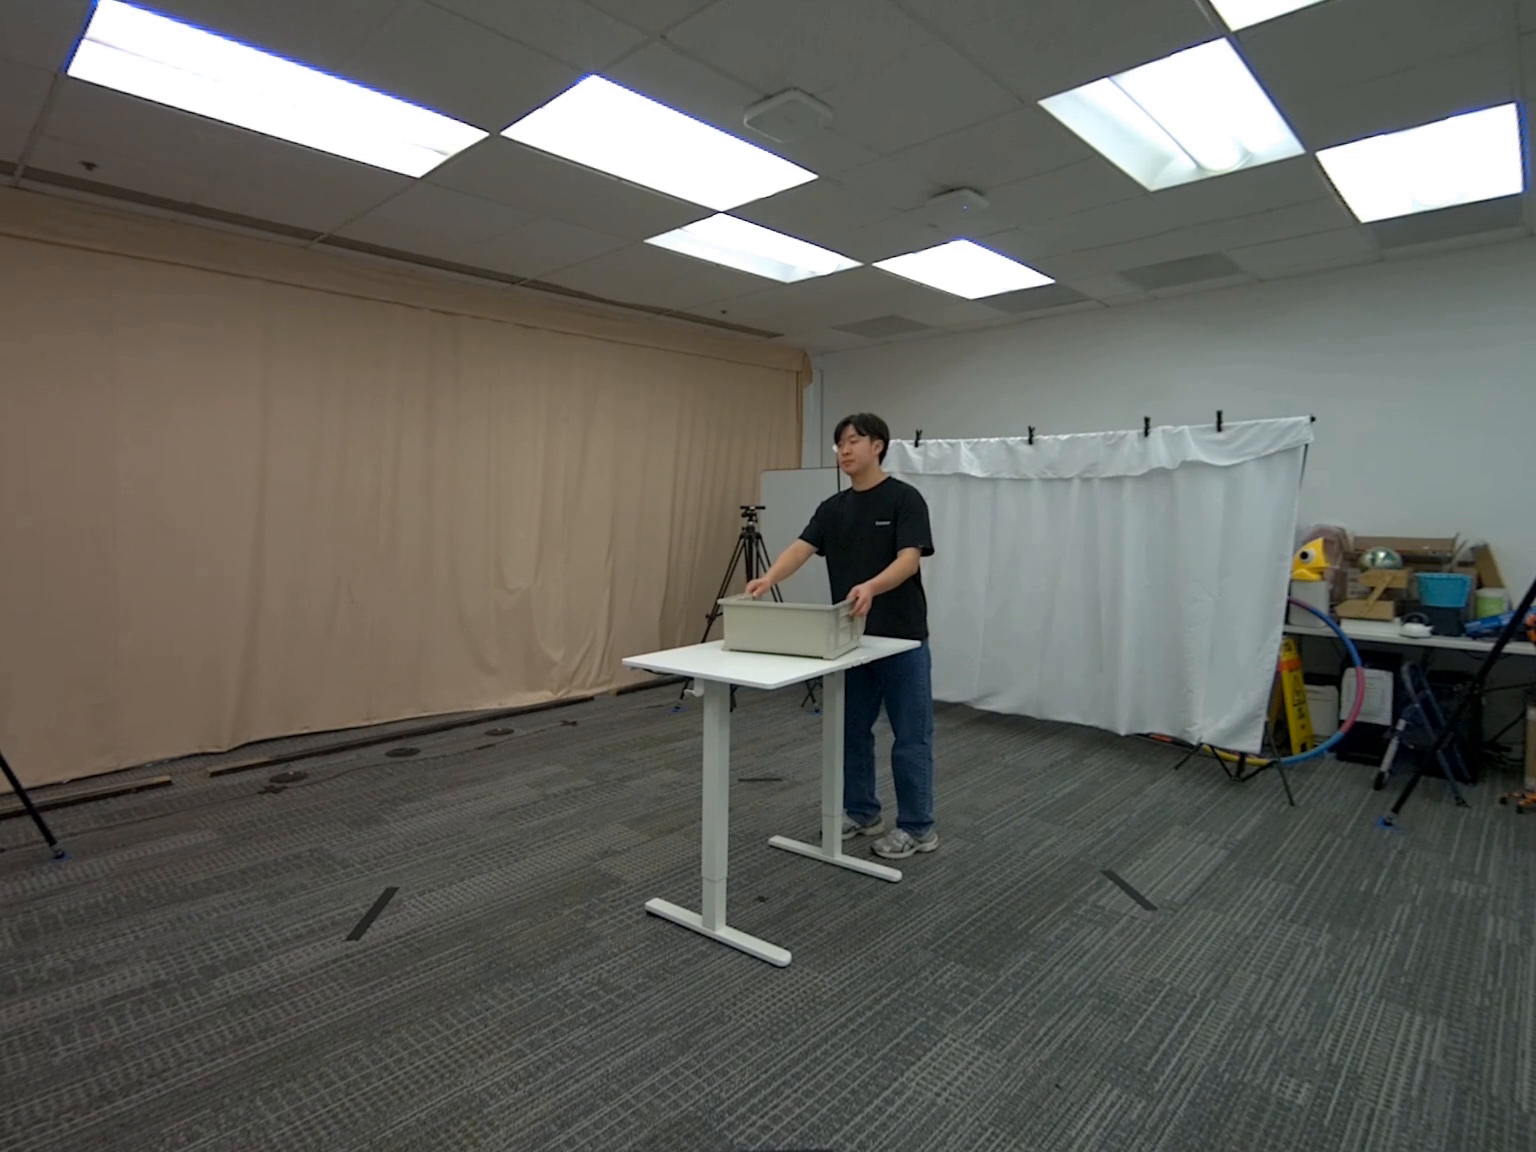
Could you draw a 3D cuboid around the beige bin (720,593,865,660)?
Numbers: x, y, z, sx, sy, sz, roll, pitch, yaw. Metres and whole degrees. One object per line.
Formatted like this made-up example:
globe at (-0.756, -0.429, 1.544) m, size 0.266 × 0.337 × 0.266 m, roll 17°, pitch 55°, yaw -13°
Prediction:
beige bin at (0.094, 0.163, 3.001) m, size 0.434 × 0.188 × 0.369 m, roll 2°, pitch 7°, yaw 26°
